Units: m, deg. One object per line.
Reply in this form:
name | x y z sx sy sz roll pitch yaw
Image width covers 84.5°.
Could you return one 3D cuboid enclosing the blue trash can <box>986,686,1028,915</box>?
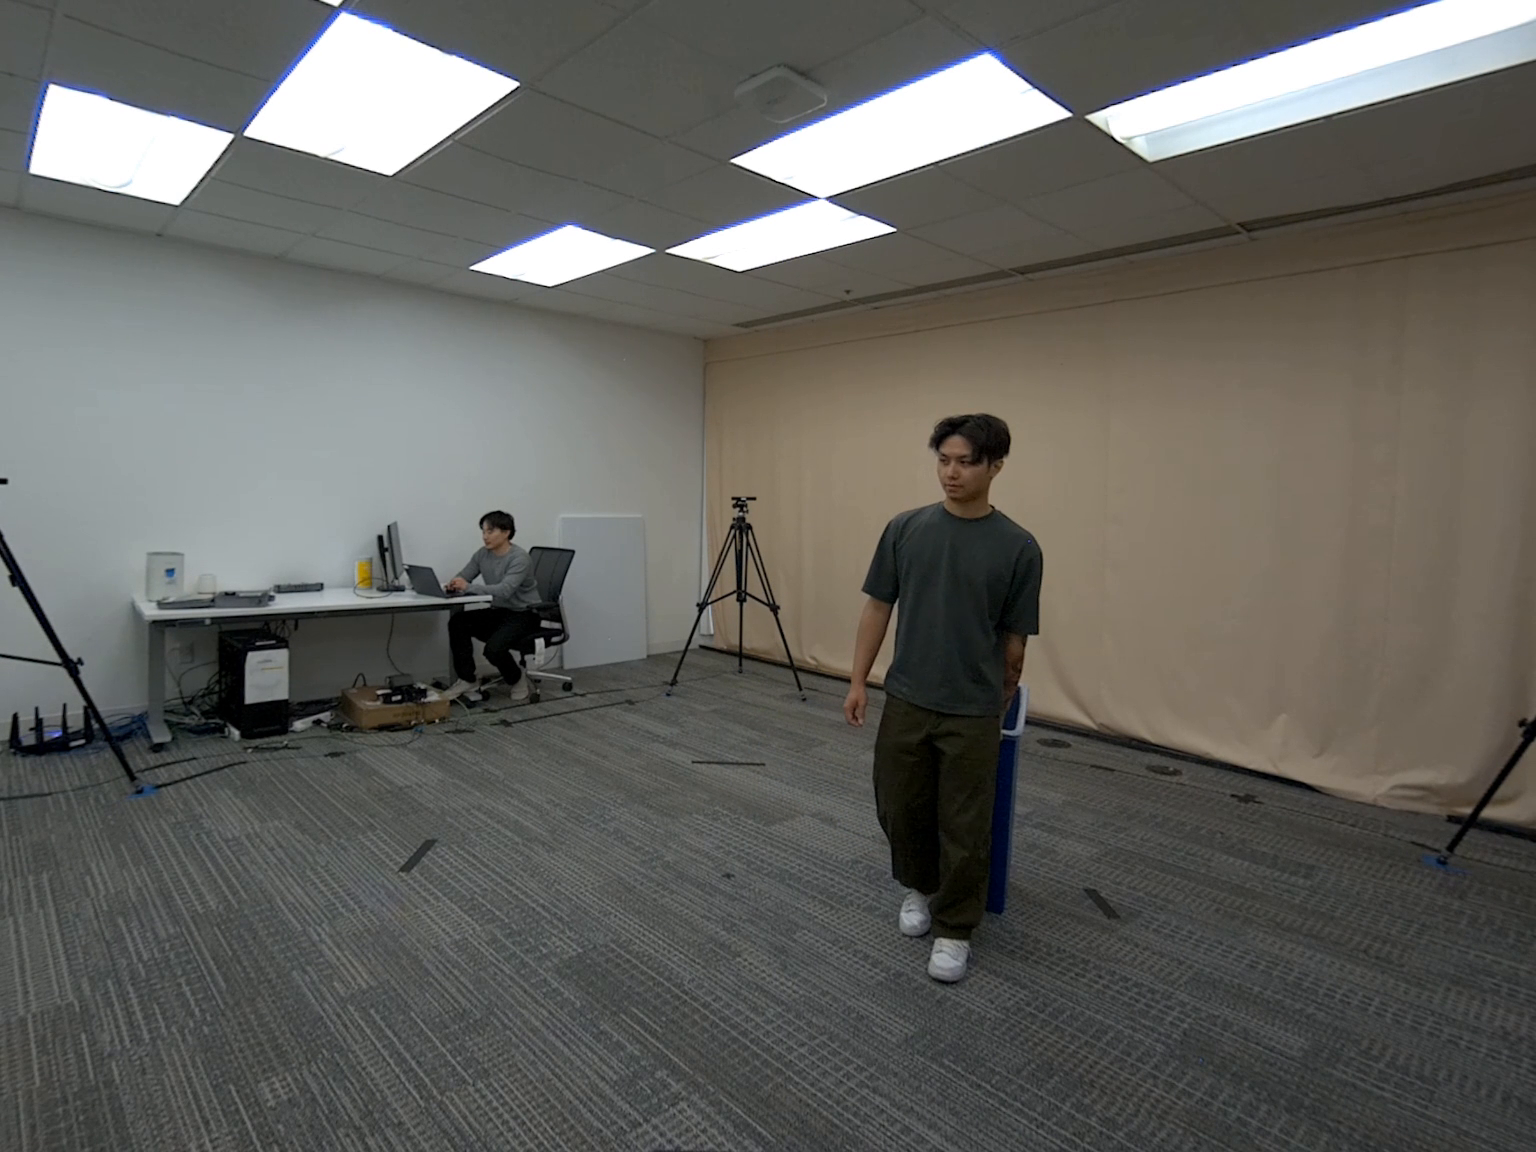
blue trash can | 0.699 0.759 2.948 0.380 0.704 0.376 3 18 21
